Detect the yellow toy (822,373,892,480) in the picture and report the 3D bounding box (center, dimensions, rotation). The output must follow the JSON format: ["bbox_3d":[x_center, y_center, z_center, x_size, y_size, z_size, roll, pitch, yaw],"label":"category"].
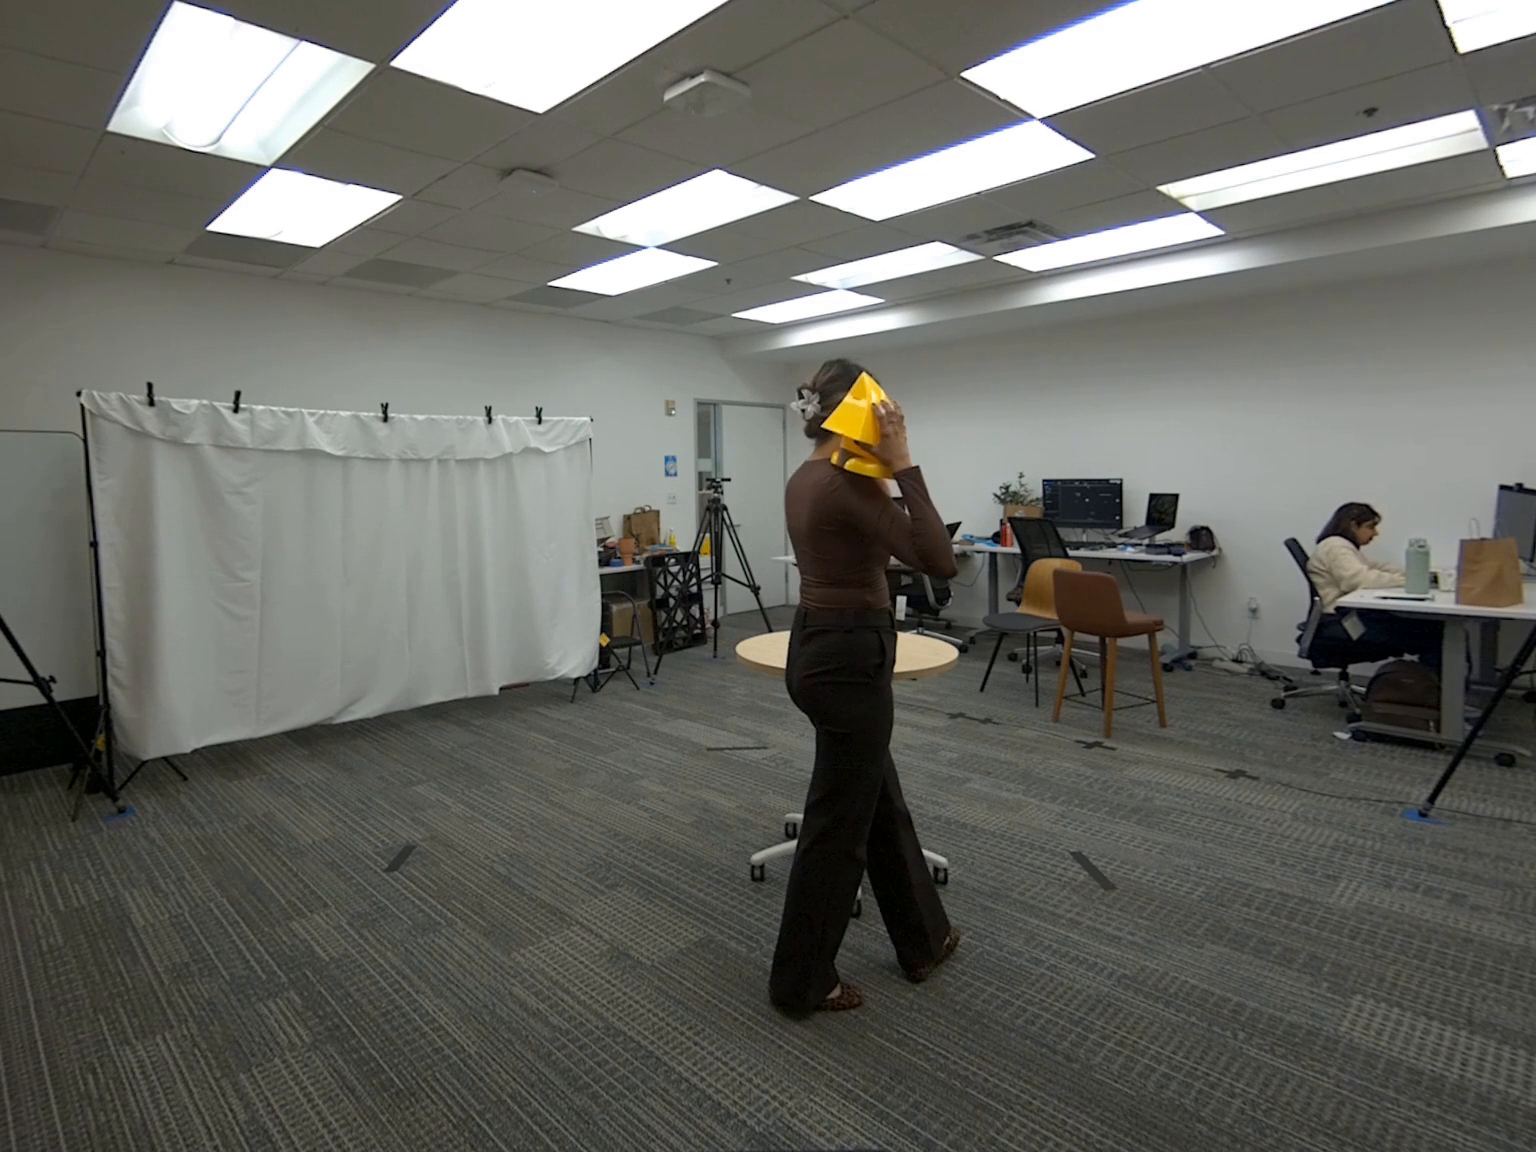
[{"bbox_3d":[0.268,-0.369,2.060,0.189,0.229,0.211,7,14,-23],"label":"yellow toy"}]
